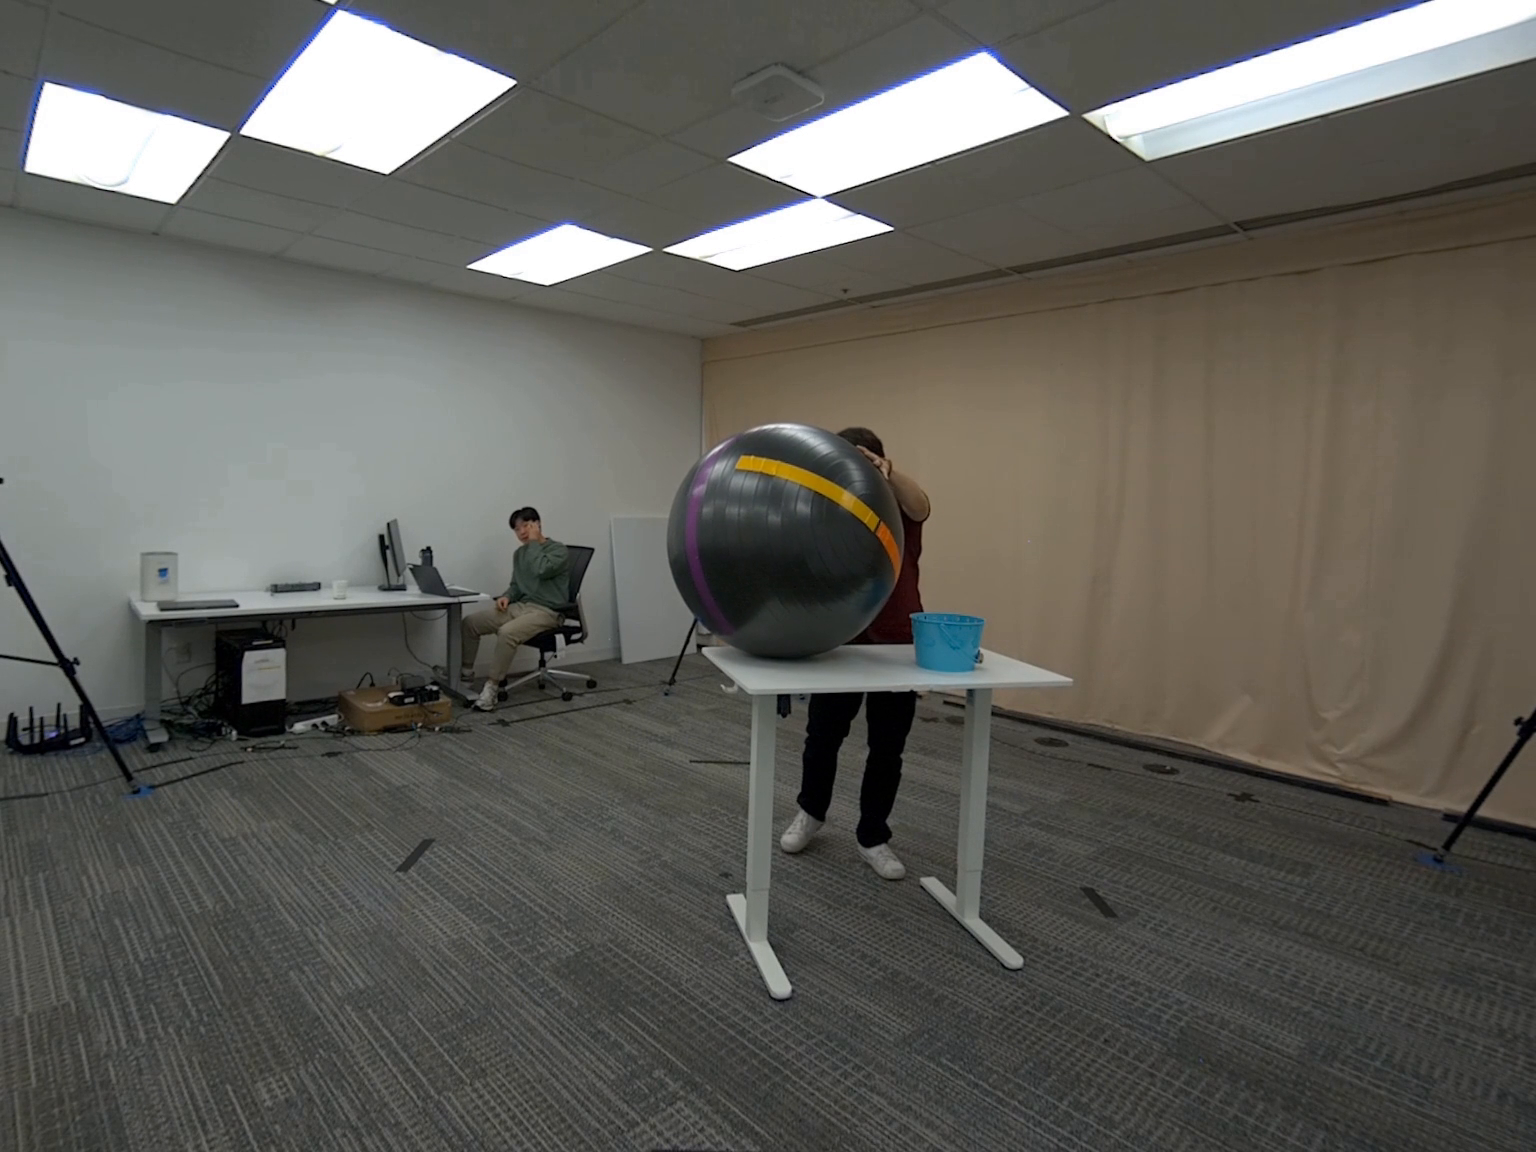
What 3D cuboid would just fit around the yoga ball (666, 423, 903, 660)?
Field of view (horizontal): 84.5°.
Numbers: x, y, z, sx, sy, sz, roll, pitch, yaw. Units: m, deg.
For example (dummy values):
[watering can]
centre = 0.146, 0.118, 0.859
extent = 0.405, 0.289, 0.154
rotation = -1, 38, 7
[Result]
[yoga ball]
centre = 0.050, -0.105, 2.716
extent = 0.757, 0.756, 0.760
rotation = 1, 4, -1
